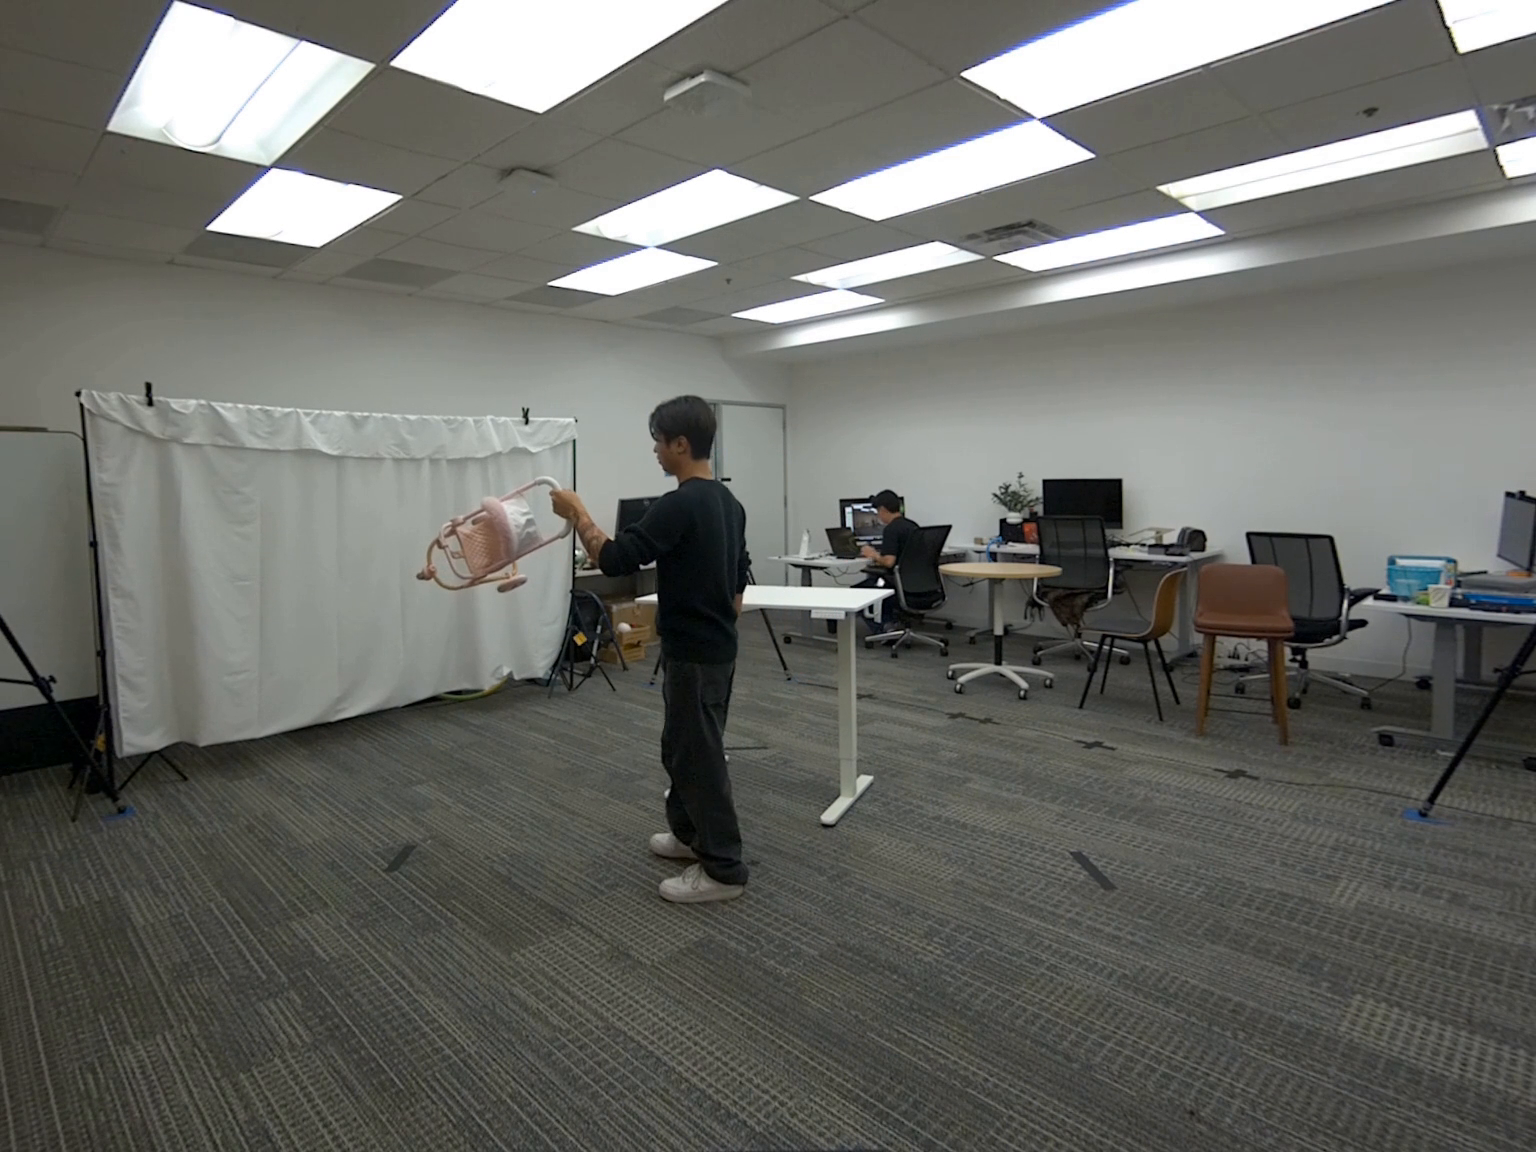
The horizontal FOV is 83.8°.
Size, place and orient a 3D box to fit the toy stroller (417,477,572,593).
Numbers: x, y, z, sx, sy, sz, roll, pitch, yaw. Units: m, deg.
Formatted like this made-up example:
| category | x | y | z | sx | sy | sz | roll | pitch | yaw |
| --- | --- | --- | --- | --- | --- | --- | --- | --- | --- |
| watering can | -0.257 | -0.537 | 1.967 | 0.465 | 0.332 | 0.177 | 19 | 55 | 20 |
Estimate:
| category | x | y | z | sx | sy | sz | roll | pitch | yaw |
| --- | --- | --- | --- | --- | --- | --- | --- | --- | --- |
| toy stroller | -0.919 | -0.115 | 2.808 | 0.334 | 0.284 | 0.541 | -14 | -9 | -43 |
